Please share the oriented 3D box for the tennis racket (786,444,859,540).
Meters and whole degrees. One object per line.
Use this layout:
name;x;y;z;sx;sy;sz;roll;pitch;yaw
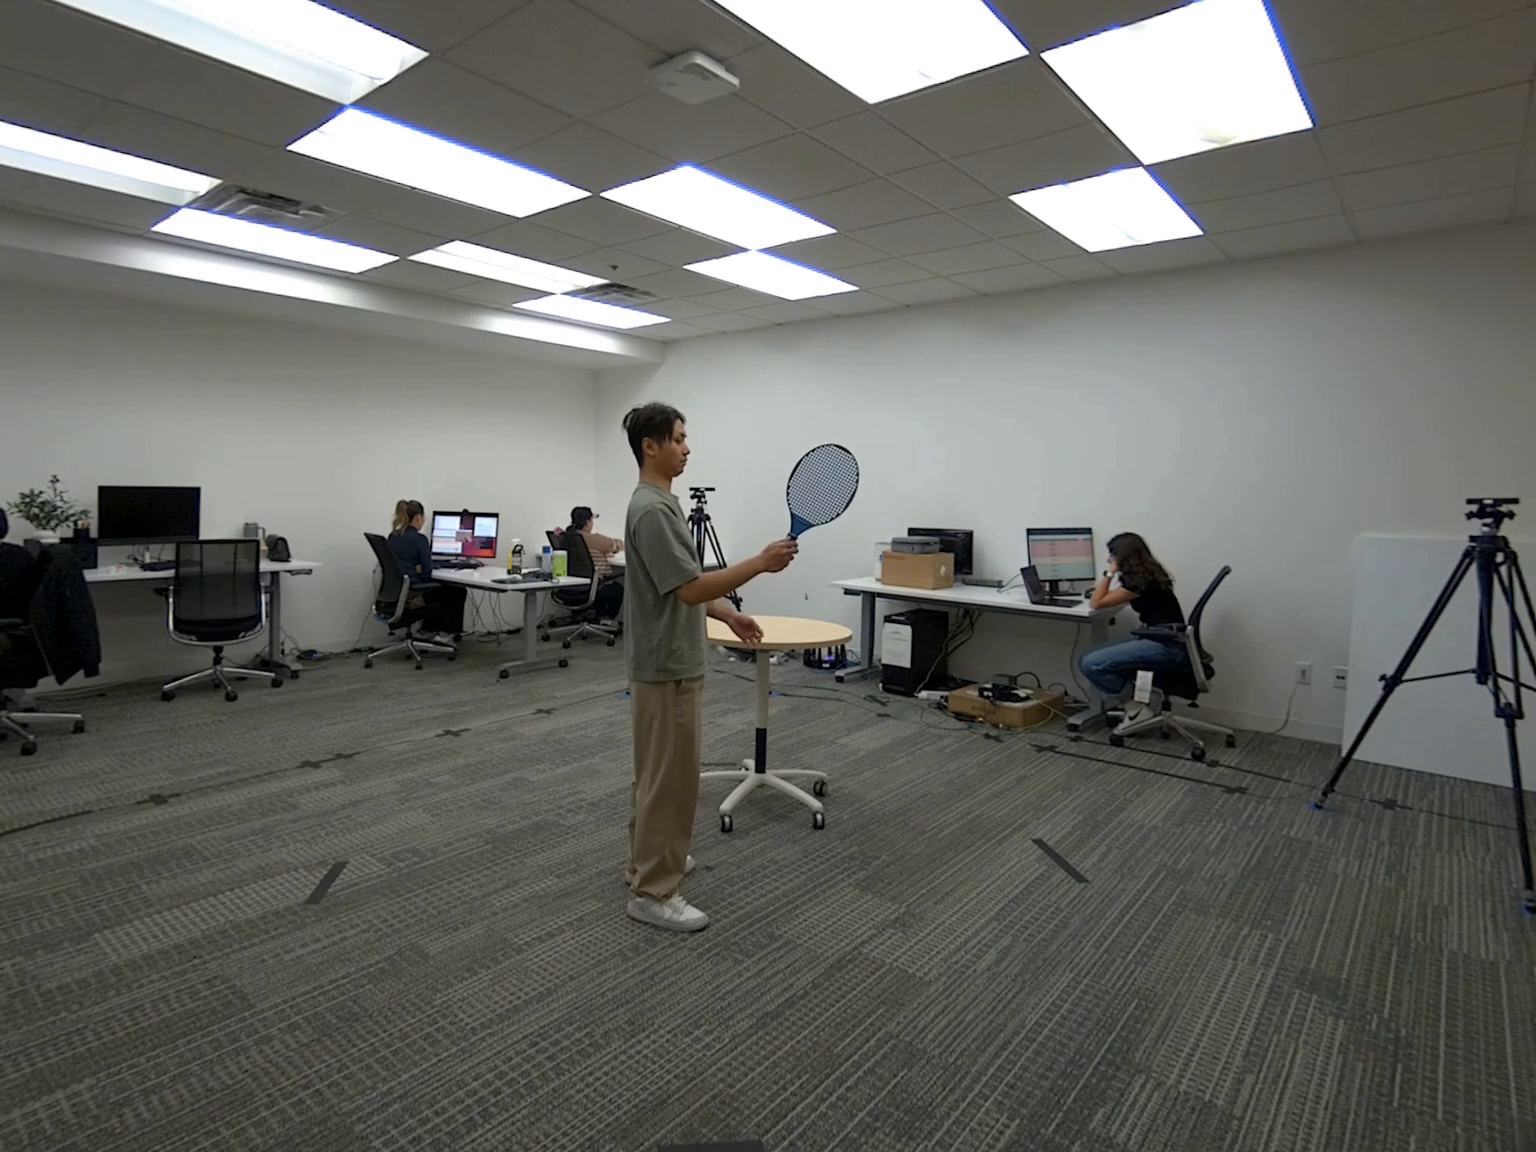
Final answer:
tennis racket;0.120;-0.214;2.645;0.219;0.432;0.031;32;4;19
